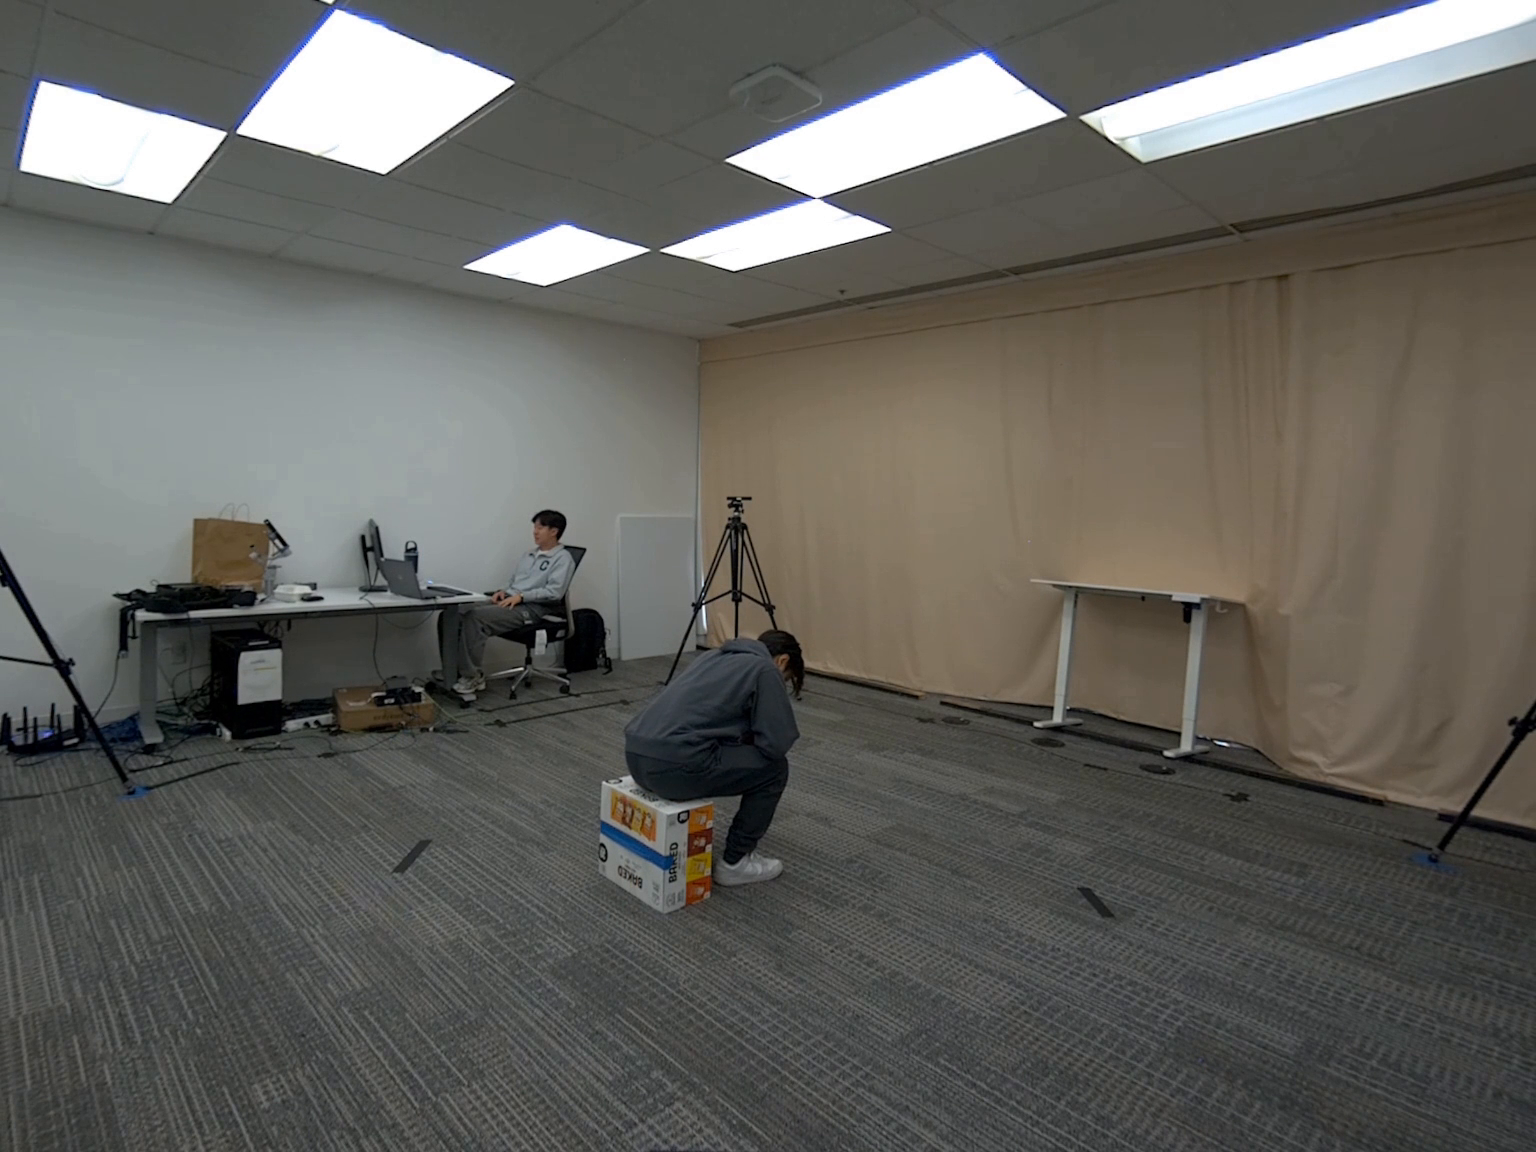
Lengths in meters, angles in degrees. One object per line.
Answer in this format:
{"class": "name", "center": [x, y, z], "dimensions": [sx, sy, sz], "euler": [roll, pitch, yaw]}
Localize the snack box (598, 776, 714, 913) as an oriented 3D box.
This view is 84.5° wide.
{"class": "snack box", "center": [-0.412, 0.938, 3.008], "dimensions": [0.201, 0.339, 0.416], "euler": [0, 4, -43]}
